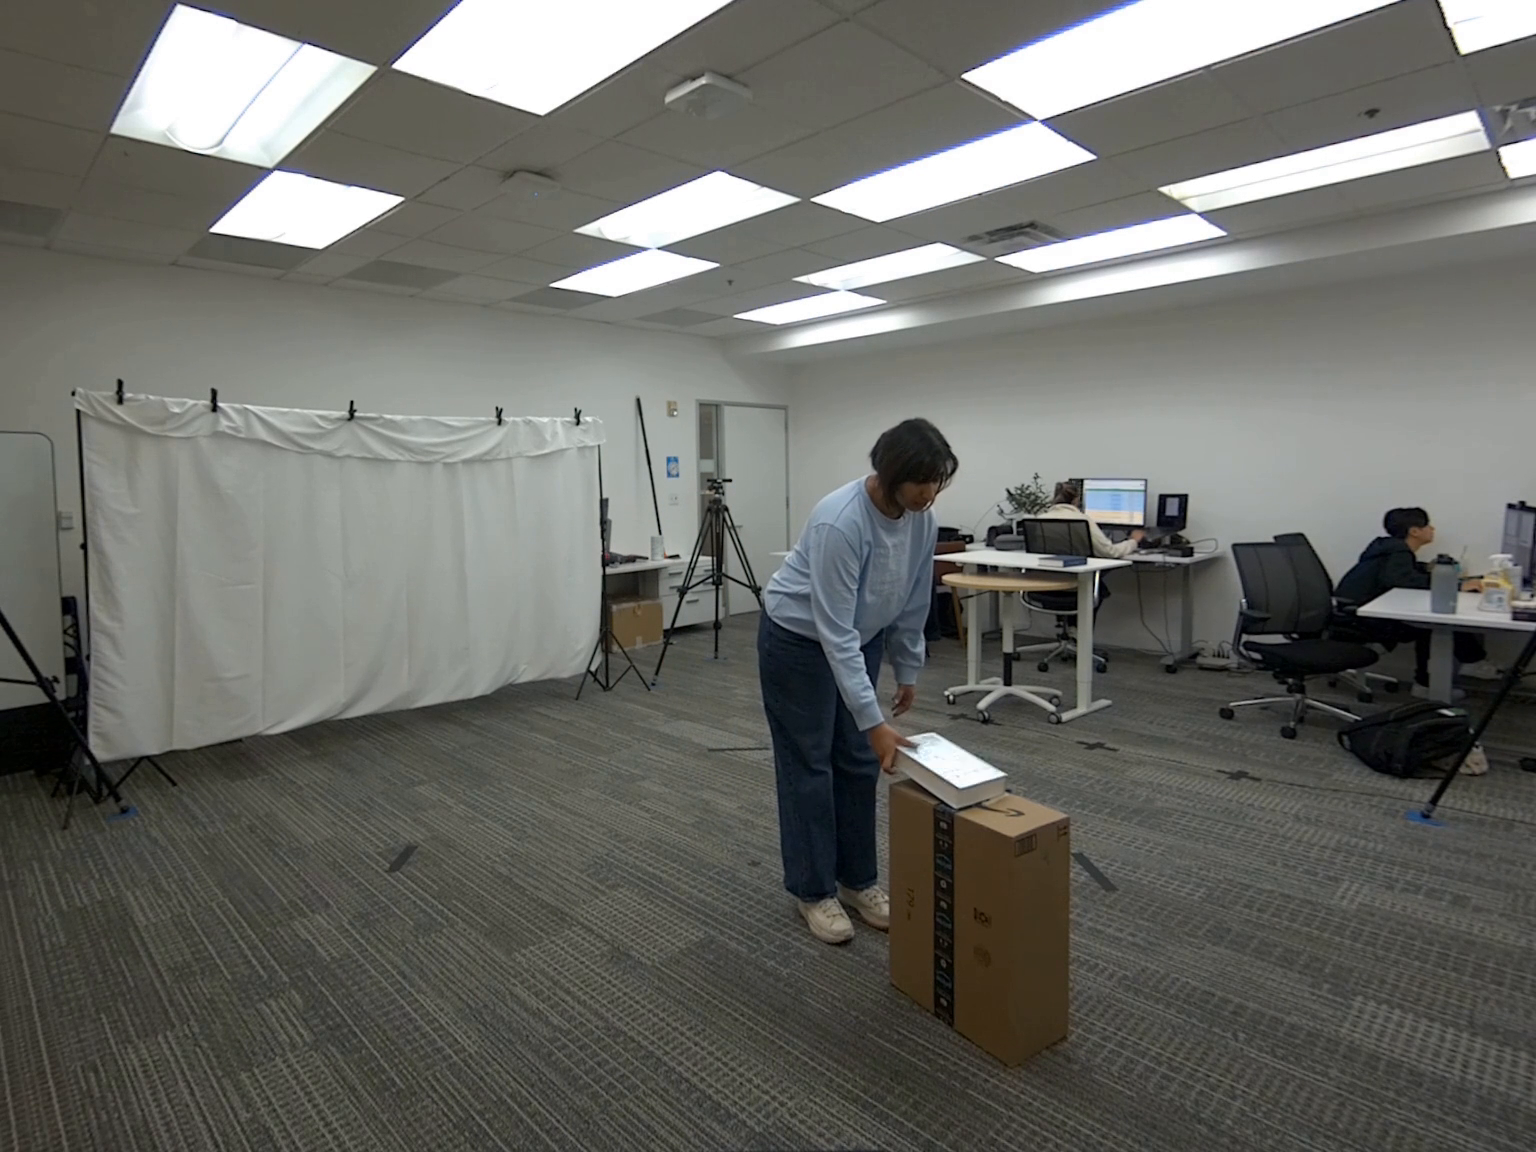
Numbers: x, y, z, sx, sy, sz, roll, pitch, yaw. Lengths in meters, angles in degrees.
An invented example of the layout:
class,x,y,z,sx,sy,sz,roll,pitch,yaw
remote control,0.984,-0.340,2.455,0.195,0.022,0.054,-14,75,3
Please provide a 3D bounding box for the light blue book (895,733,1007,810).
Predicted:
class,x,y,z,sx,sy,sz,roll,pitch,yaw
light blue book,0.471,0.513,2.283,0.186,0.058,0.271,-4,18,-36
